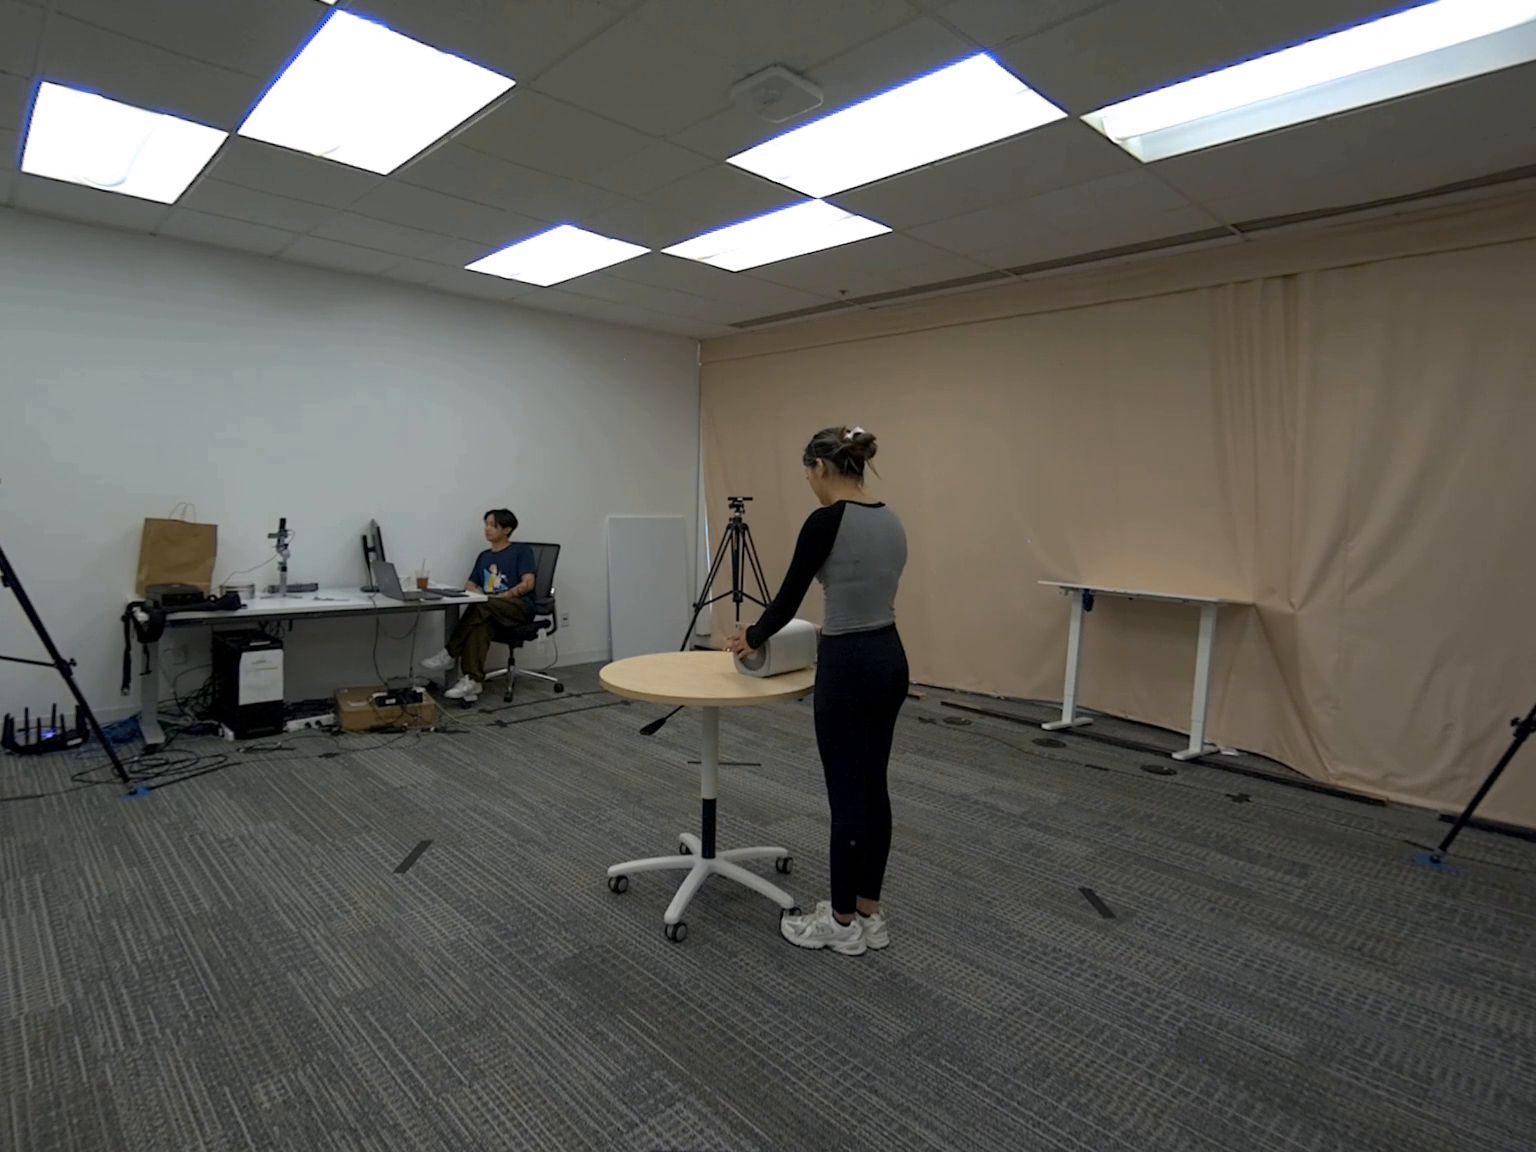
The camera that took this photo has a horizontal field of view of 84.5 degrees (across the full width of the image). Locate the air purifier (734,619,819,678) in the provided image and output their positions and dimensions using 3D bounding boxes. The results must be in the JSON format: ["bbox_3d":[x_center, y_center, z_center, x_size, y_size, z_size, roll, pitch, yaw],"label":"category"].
[{"bbox_3d":[0.026,0.246,2.926,0.175,0.171,0.259,0,3,40],"label":"air purifier"}]
